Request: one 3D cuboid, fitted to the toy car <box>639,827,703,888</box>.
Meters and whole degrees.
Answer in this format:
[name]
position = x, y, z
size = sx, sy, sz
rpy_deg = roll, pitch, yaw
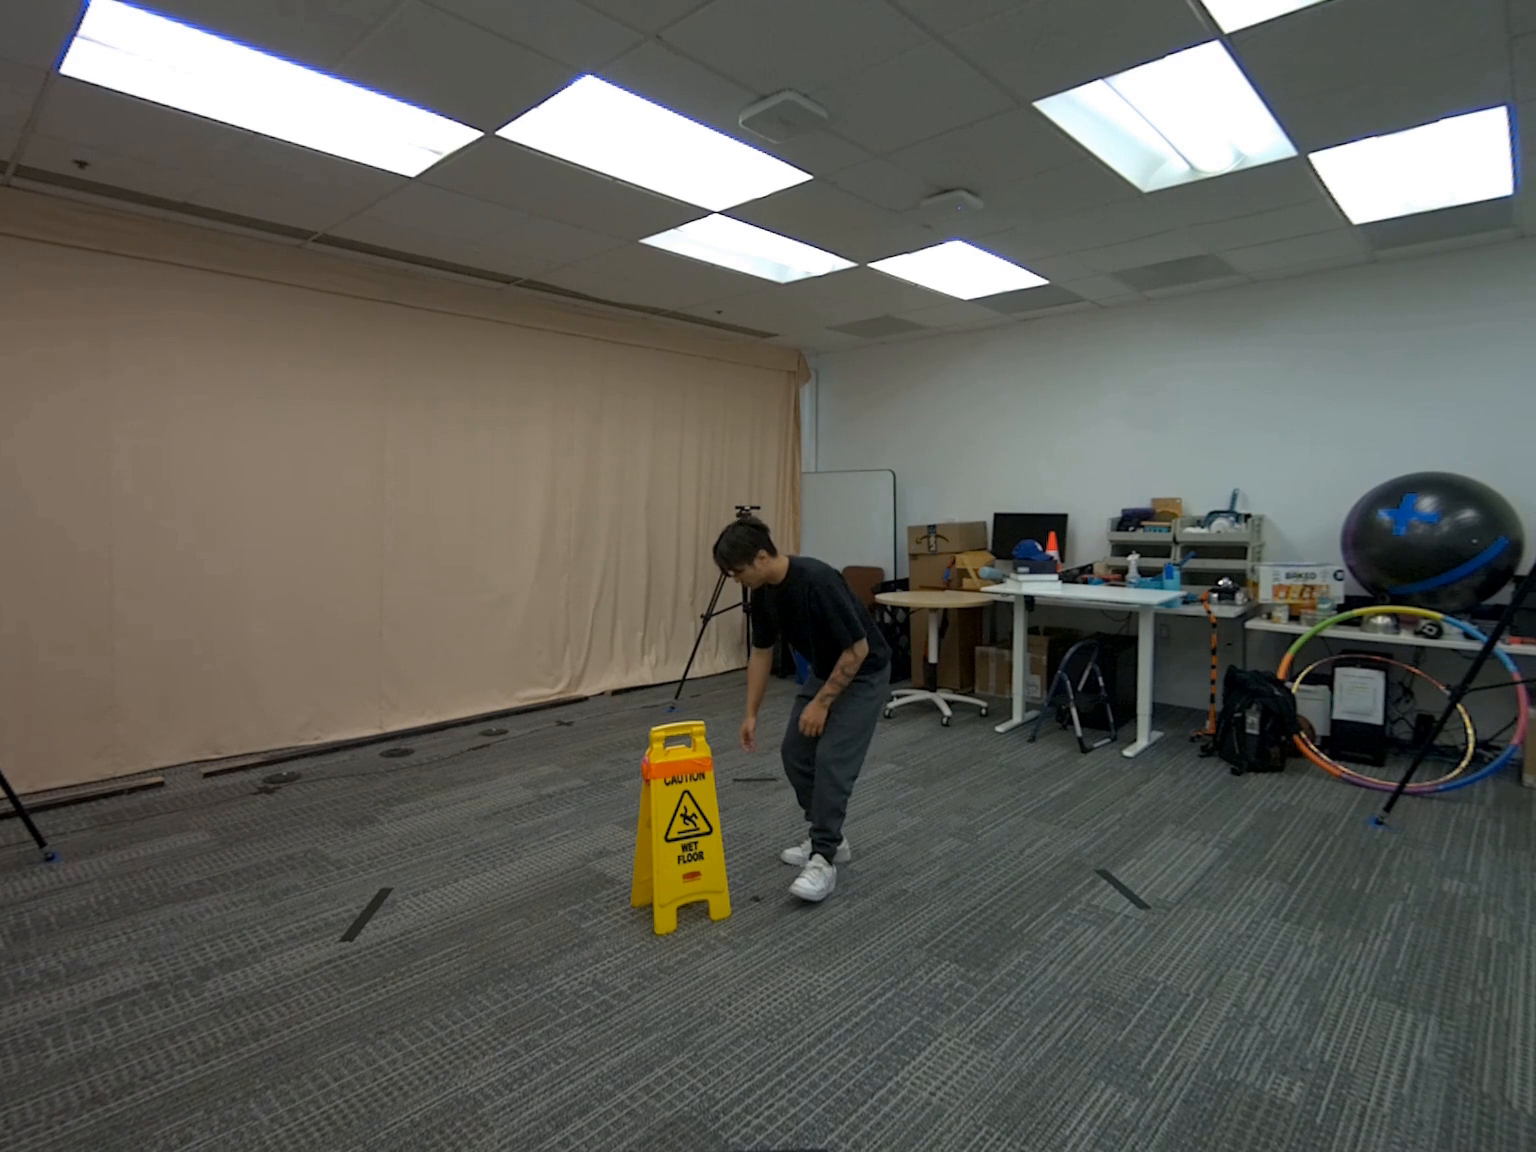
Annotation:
[toy car]
position = -0.378, 1.091, 3.298
size = 0.133, 0.082, 0.250
rpy_deg = 0, 15, 24
